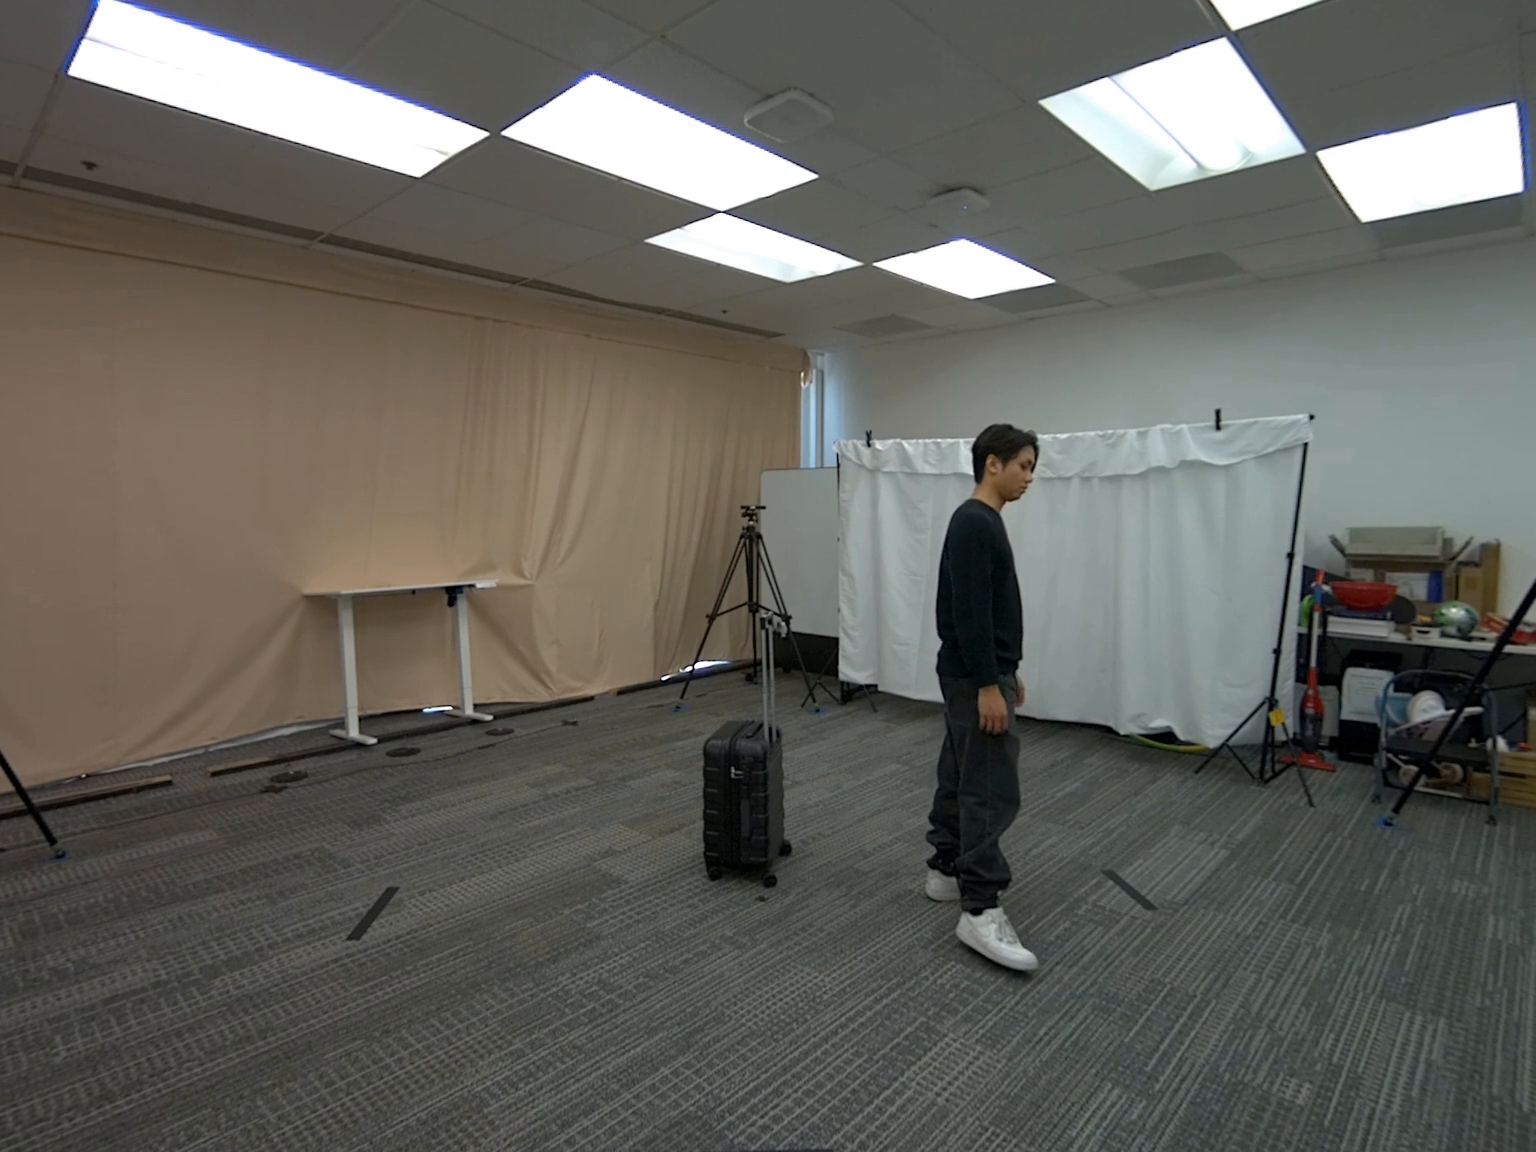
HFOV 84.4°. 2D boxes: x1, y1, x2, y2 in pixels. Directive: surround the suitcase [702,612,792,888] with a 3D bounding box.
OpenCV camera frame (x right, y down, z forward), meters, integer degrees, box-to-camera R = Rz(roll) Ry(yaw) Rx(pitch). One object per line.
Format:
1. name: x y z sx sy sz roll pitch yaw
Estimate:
1. suitcase: -0.095 0.645 3.229 0.261 0.977 0.378 -2 2 14
